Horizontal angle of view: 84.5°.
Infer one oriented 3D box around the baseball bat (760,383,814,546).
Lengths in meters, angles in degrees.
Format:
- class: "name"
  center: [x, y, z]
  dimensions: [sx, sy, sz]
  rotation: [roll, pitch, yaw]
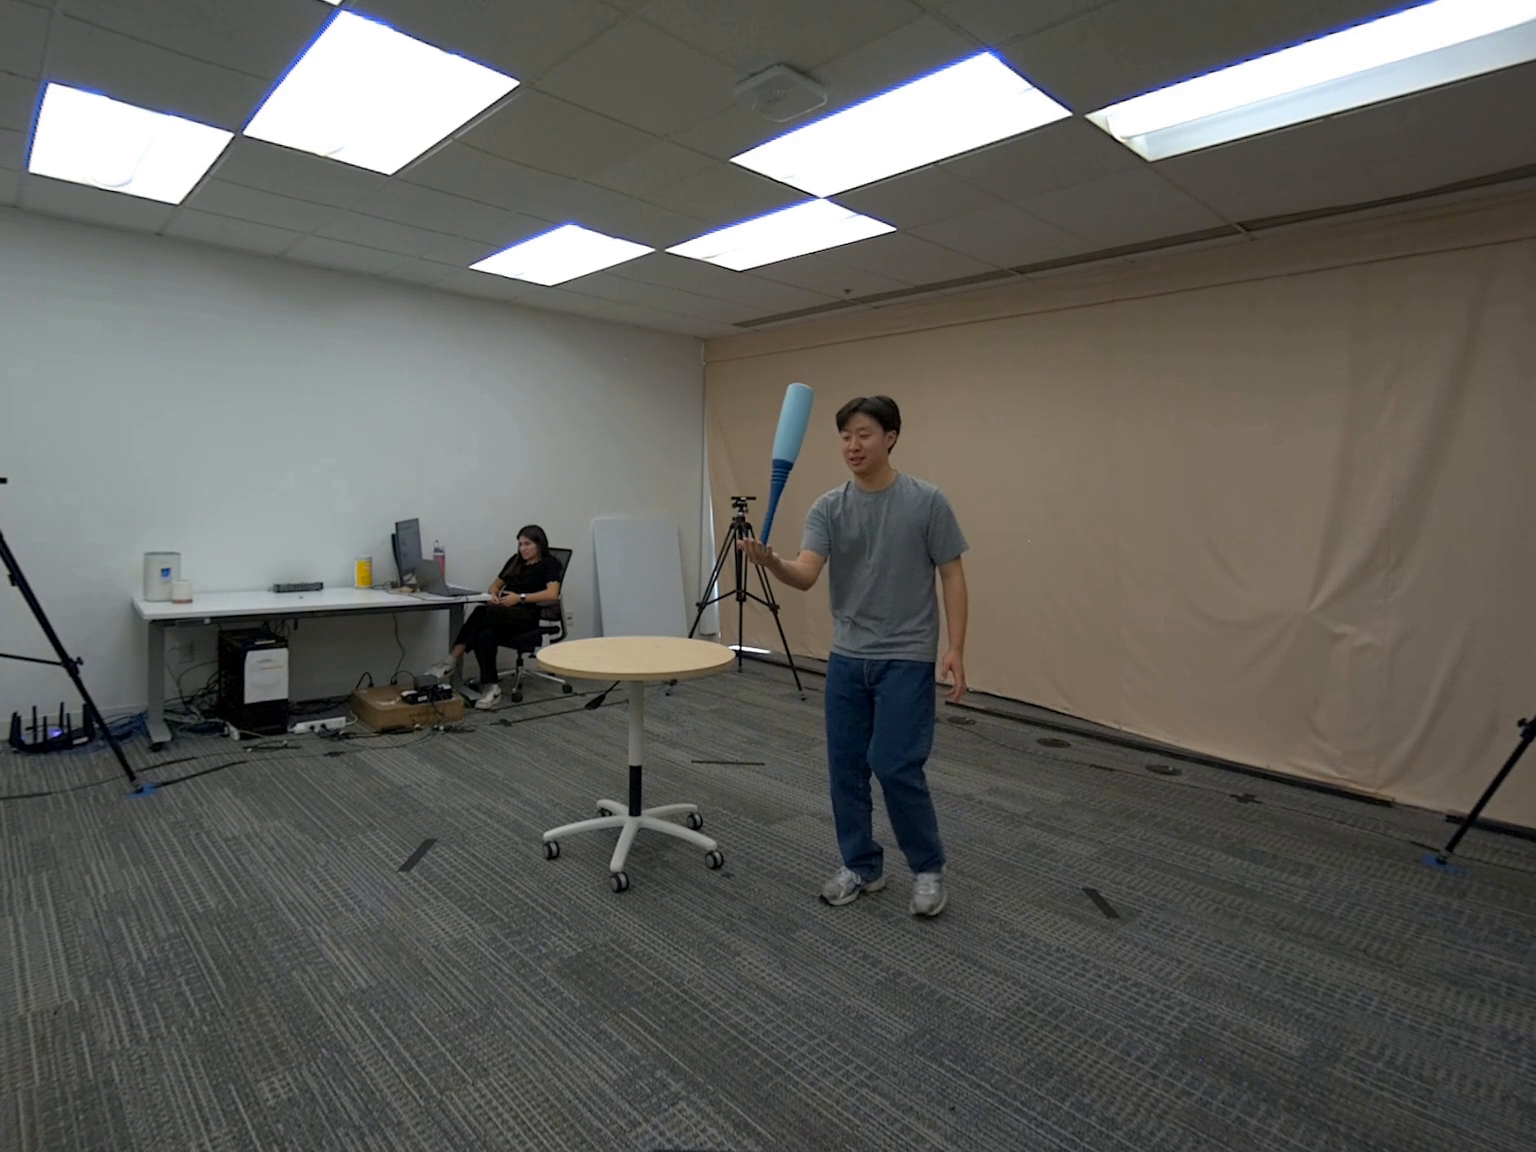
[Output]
- class: "baseball bat"
  center: [0.050, -0.317, 2.581]
  dimensions: [0.089, 0.545, 0.088]
  rotation: [13, -8, 0]
